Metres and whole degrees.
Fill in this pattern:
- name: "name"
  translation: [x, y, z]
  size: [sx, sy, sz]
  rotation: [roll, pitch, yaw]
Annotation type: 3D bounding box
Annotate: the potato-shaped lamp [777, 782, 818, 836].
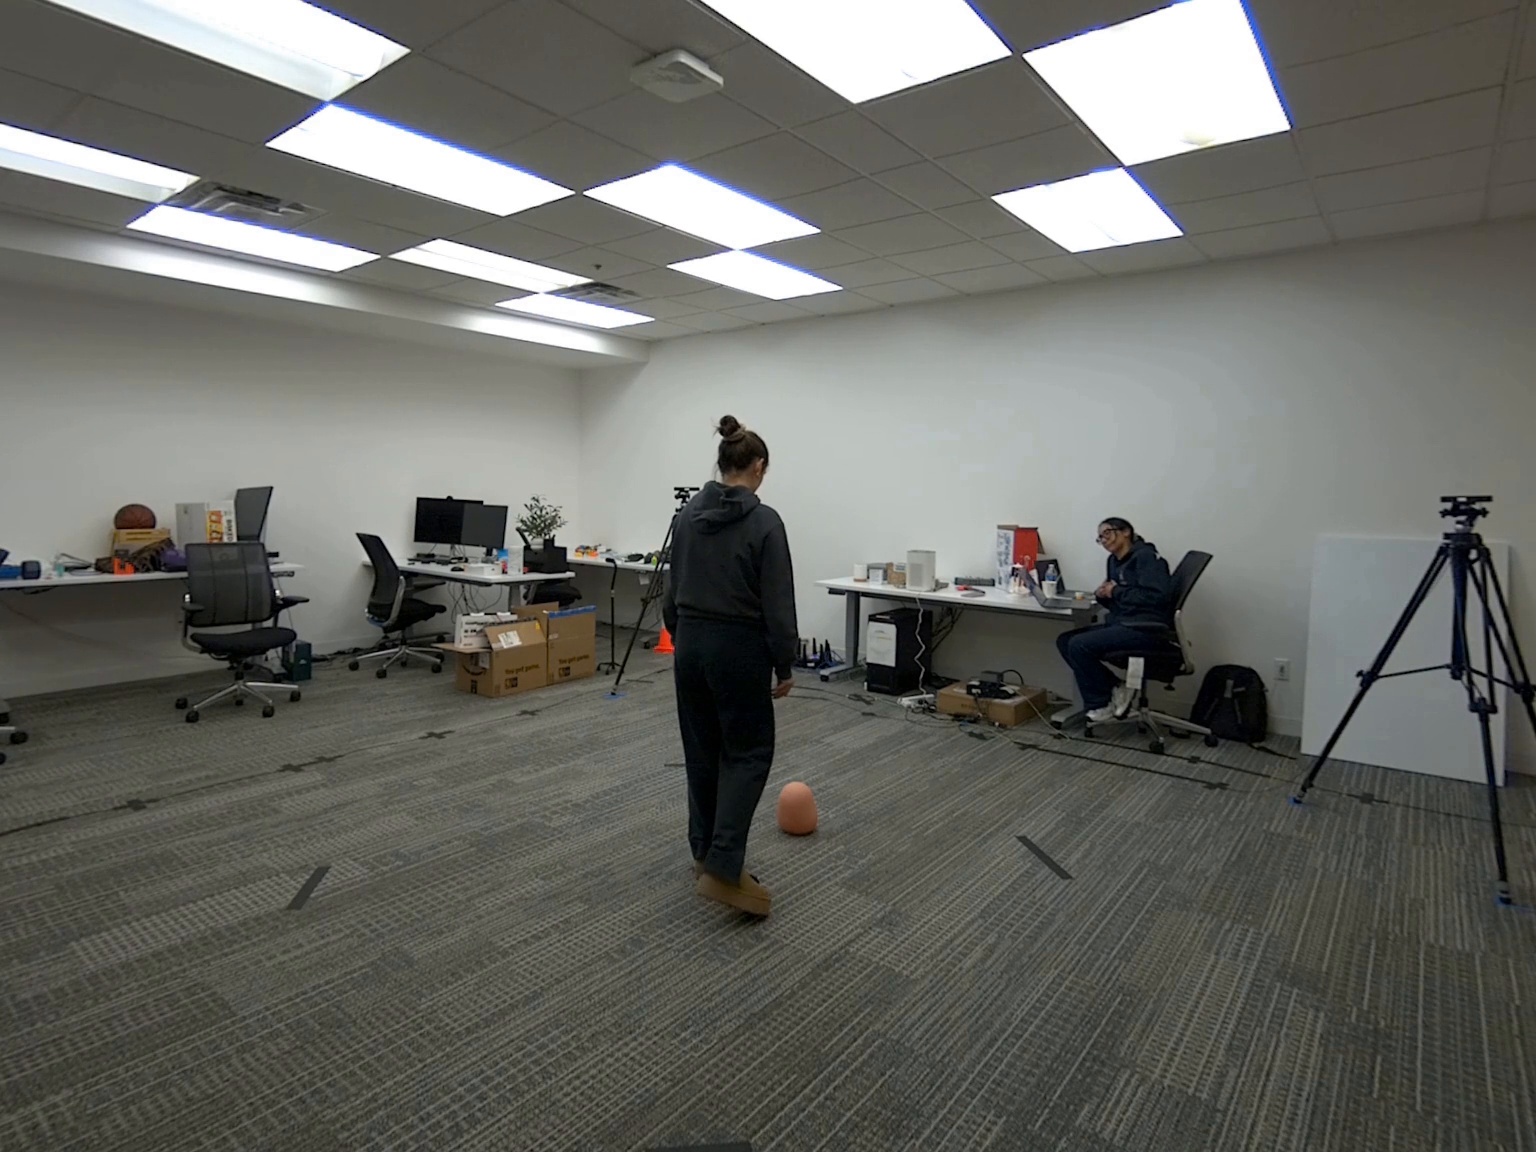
- name: "potato-shaped lamp"
  translation: [0.121, 0.938, 3.473]
  size: [0.170, 0.197, 0.167]
  rotation: [4, 6, 31]
